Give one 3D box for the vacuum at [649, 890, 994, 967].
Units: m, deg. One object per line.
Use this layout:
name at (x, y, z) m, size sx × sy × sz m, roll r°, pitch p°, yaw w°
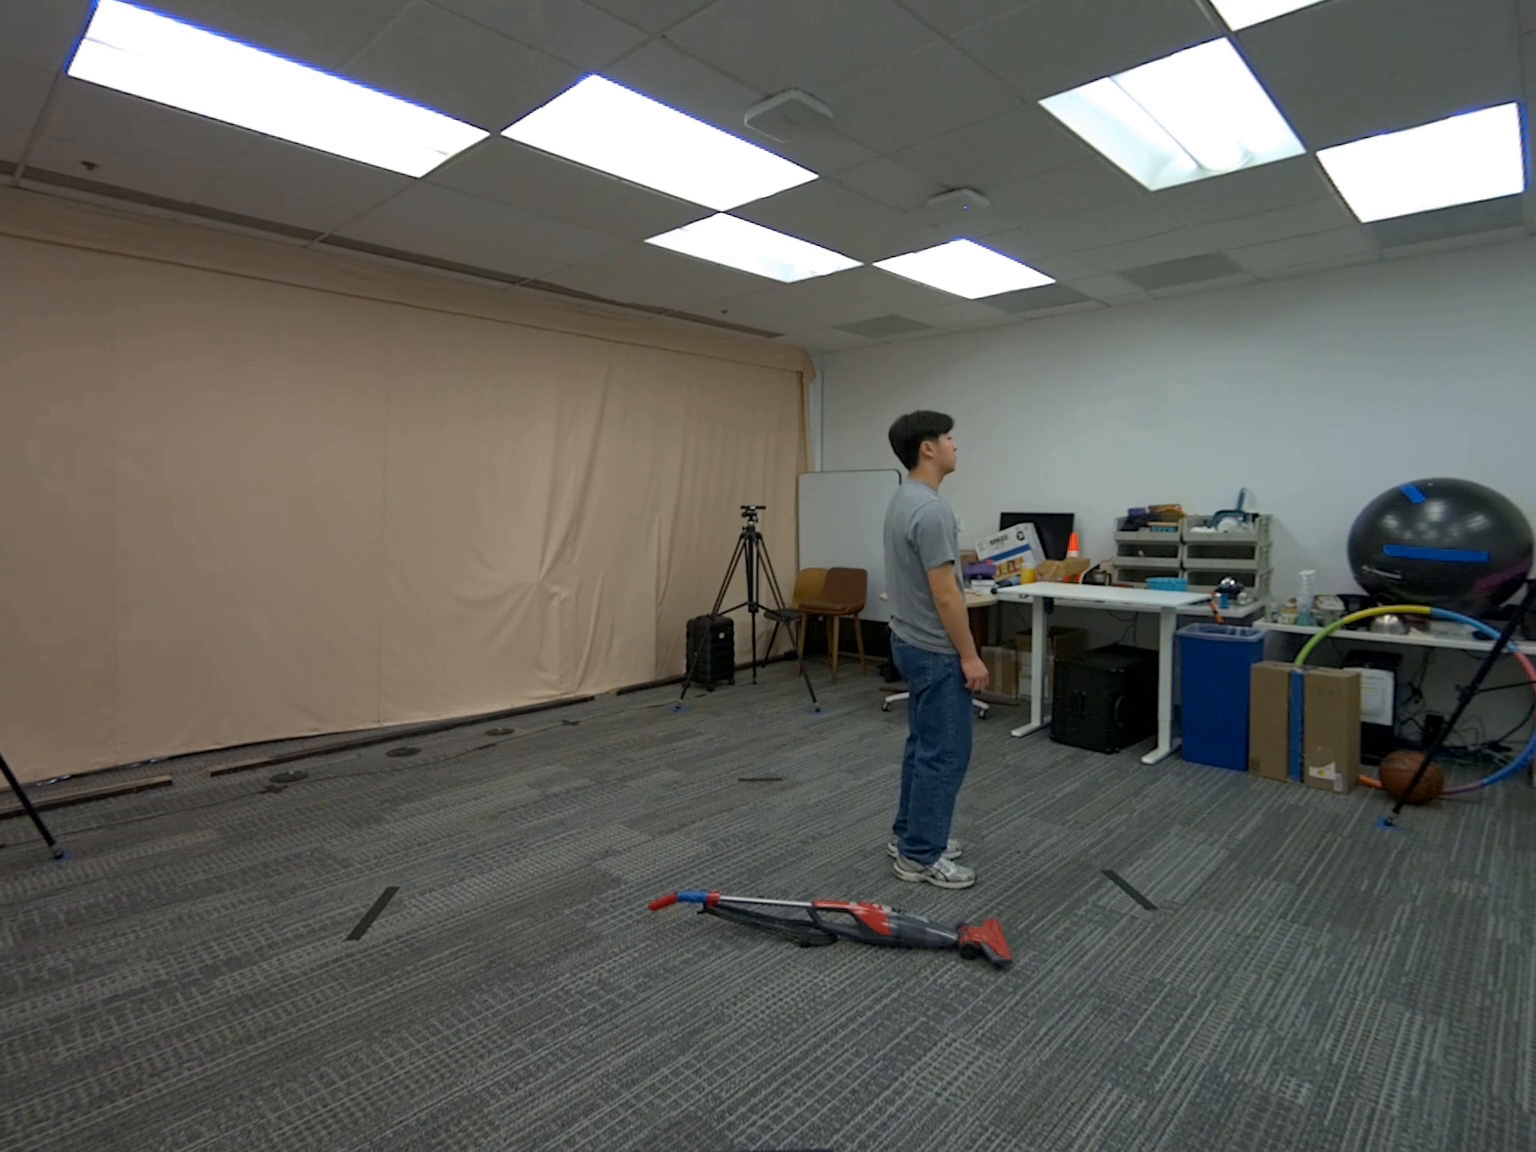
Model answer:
vacuum at (0.128, 1.105, 2.715) m, size 1.059 × 0.143 × 0.252 m, roll 2°, pitch 10°, yaw 8°
